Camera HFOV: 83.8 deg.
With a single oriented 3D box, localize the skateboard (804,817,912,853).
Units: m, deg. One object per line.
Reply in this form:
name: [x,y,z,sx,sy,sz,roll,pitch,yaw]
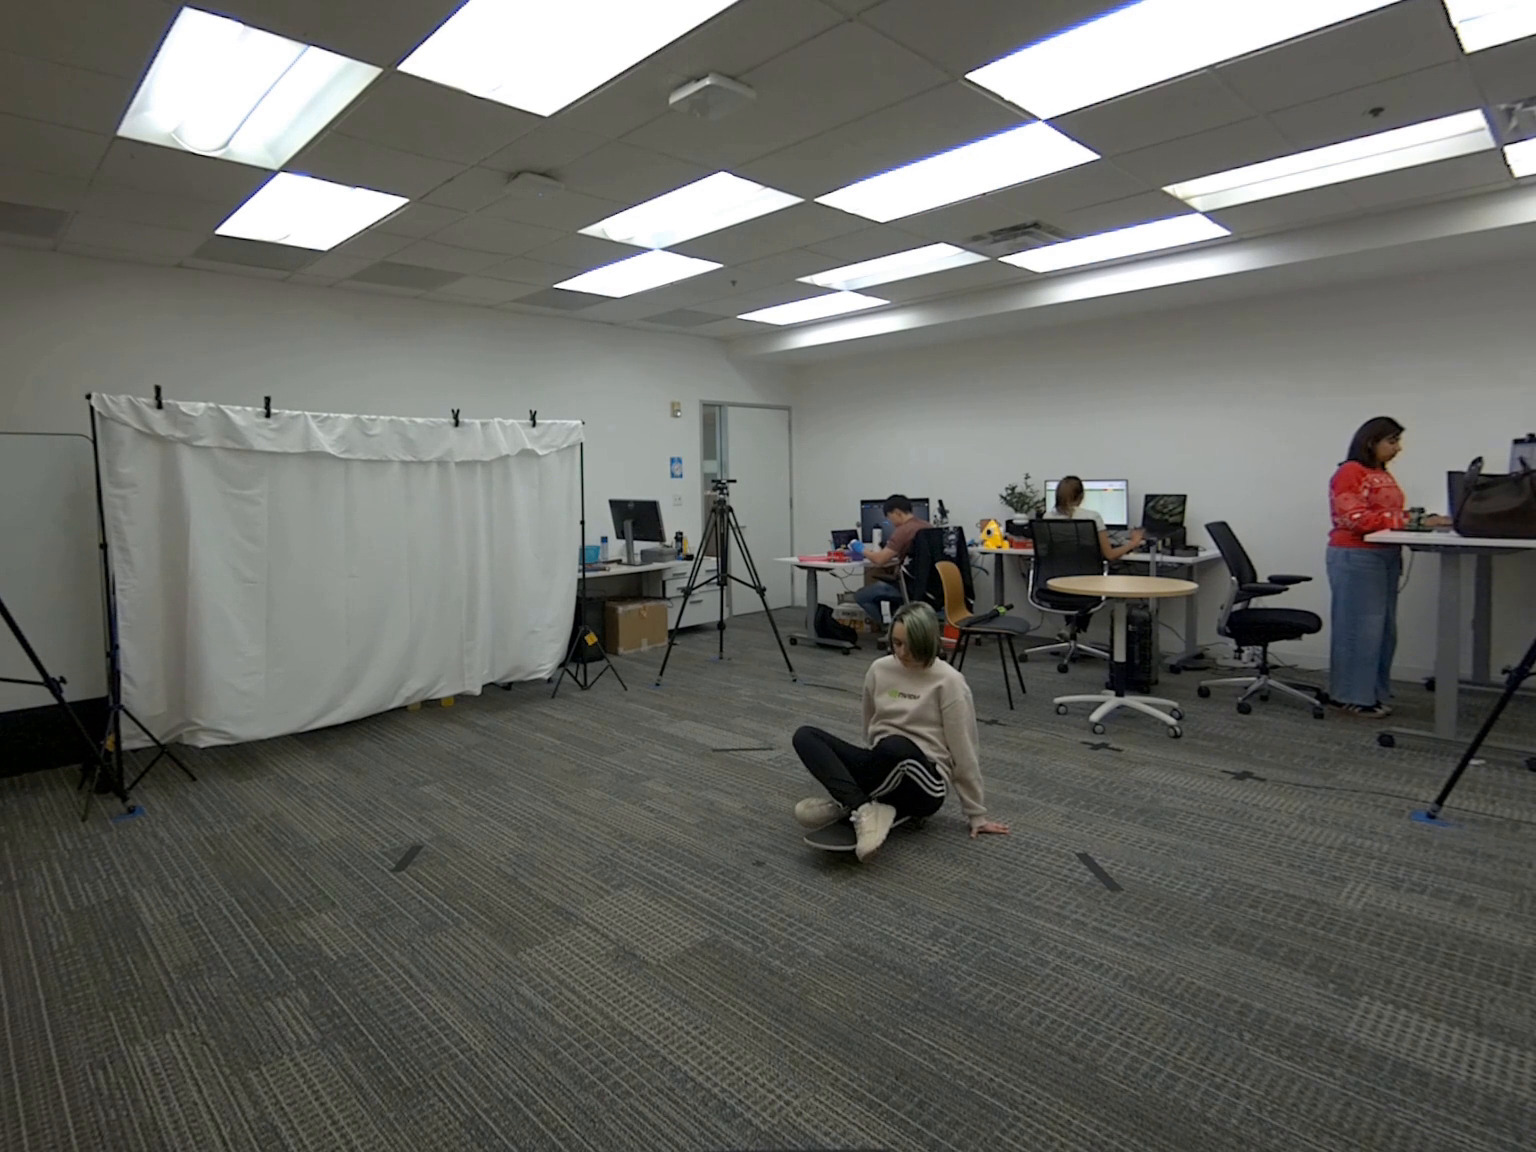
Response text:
skateboard: [0.416,0.971,3.313,0.199,0.110,0.765,3,6,43]
